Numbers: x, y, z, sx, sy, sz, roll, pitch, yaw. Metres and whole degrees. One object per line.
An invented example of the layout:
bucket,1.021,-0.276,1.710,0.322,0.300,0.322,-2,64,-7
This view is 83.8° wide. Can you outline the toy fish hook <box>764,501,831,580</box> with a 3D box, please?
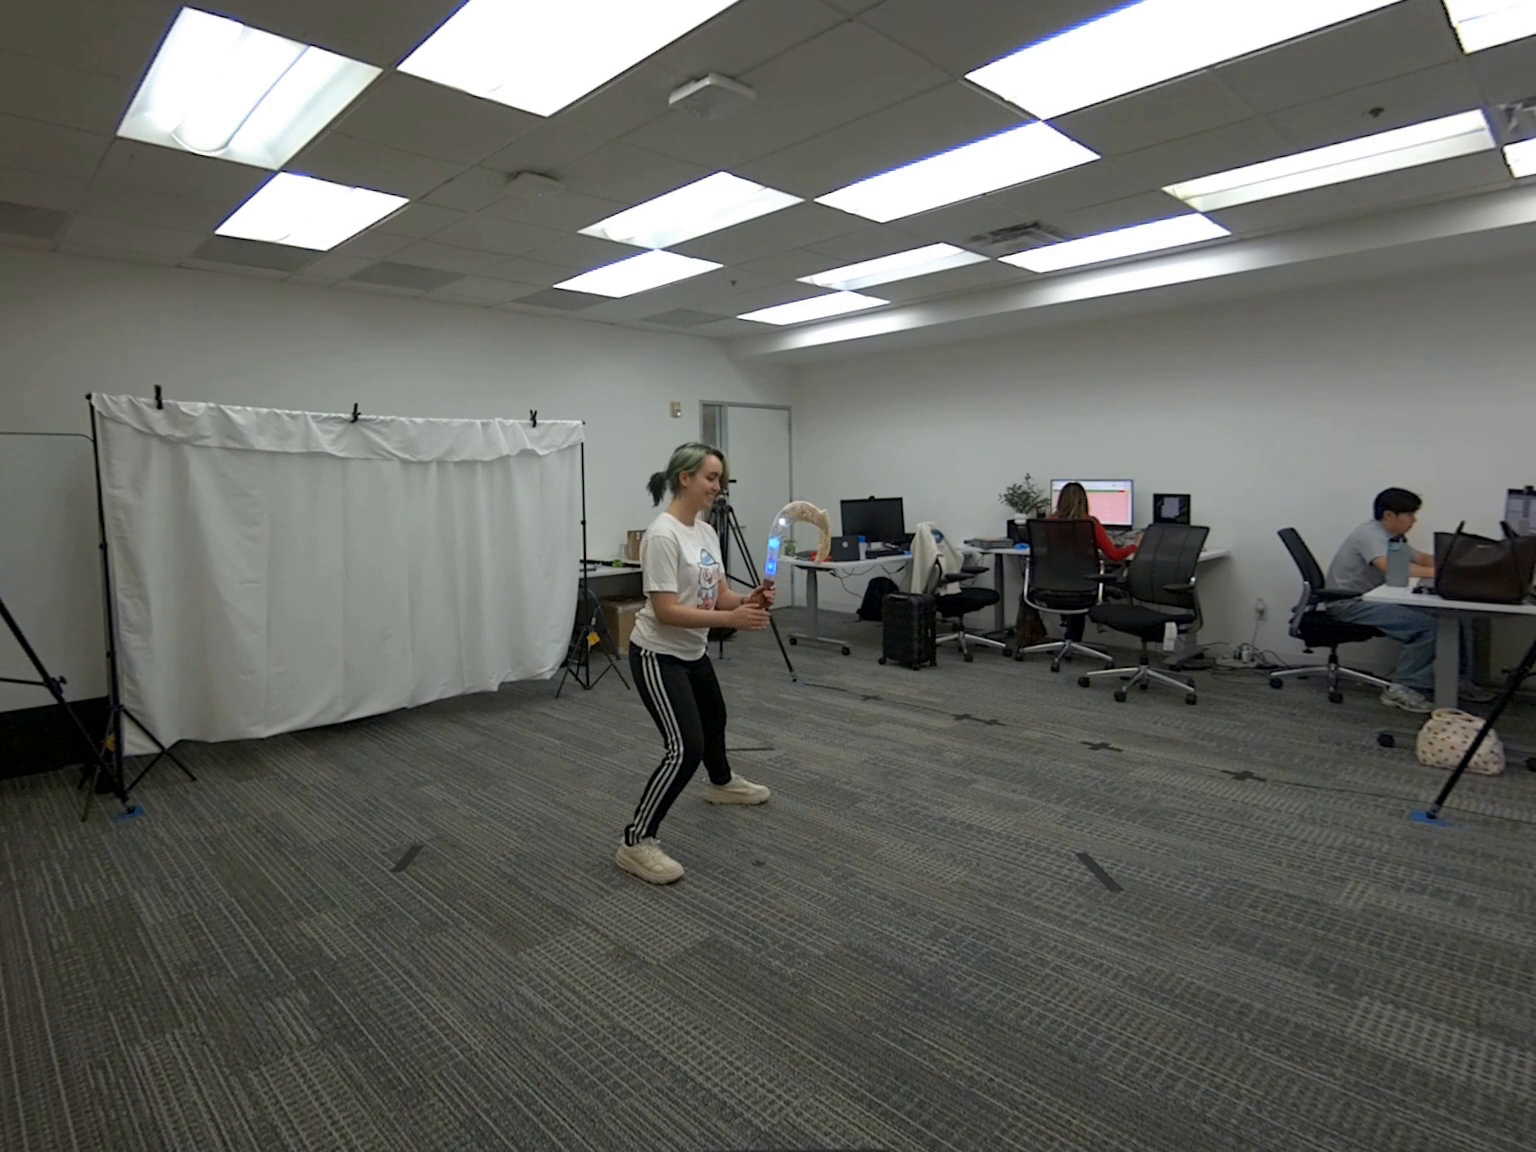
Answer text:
toy fish hook,0.061,-0.020,3.054,0.229,0.505,0.047,25,5,17
